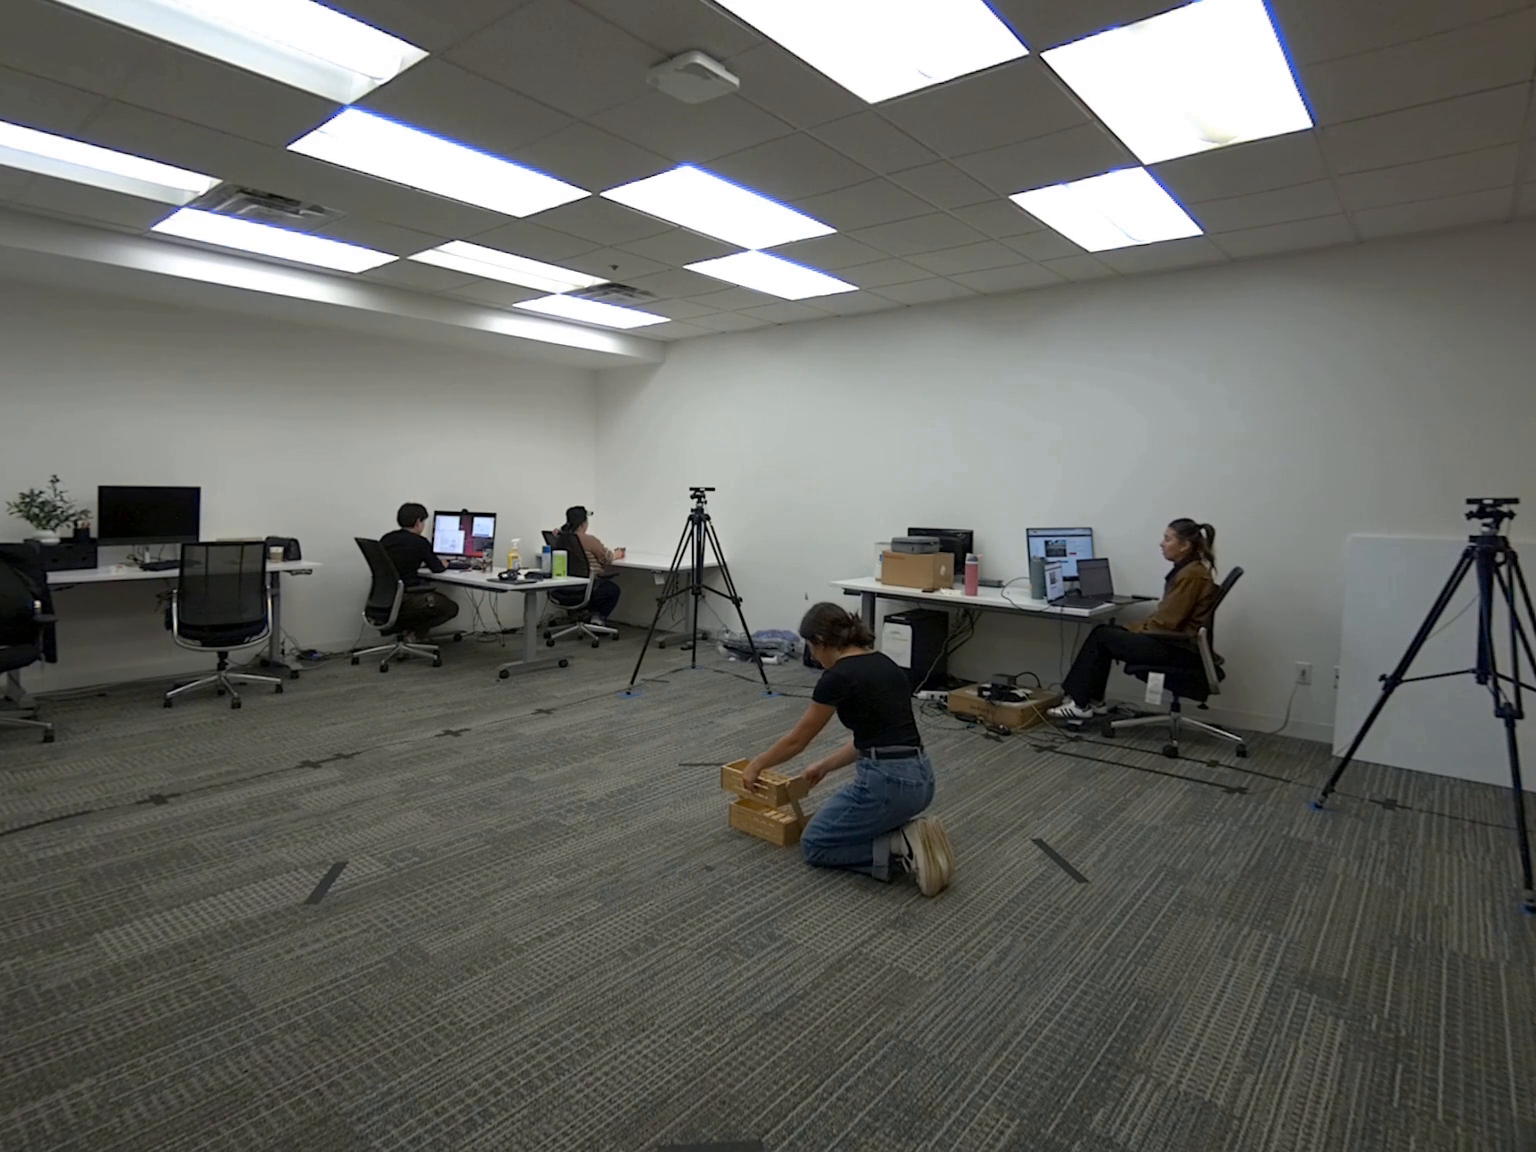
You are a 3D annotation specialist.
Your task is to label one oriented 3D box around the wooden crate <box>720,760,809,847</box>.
[{"bbox_3d":[0.008,0.899,3.478,0.335,0.272,0.293,5,6,42],"label":"wooden crate"}]
